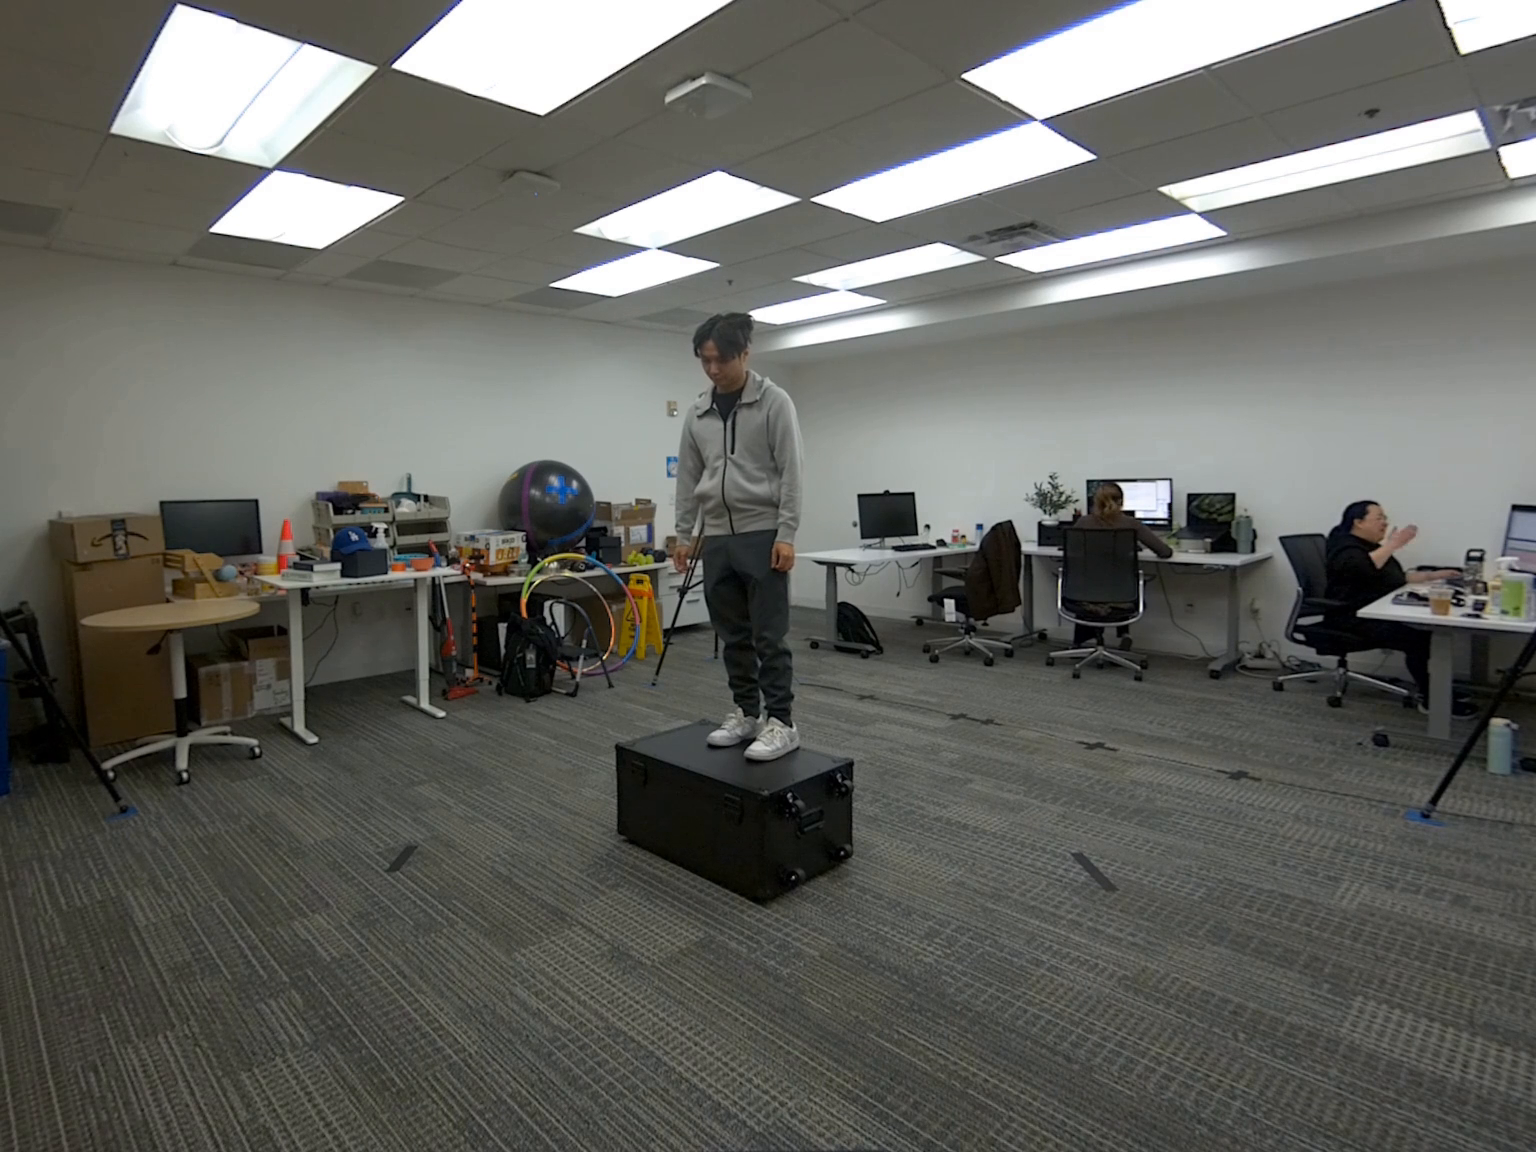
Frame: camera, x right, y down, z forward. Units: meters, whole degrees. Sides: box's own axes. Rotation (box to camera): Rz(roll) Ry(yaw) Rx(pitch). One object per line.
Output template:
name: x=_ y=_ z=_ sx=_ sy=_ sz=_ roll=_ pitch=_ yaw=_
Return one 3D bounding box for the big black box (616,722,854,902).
big black box: x=-0.115 y=0.847 z=3.187 sx=0.888 sy=0.395 sz=0.507 roll=4 pitch=7 yaw=43
